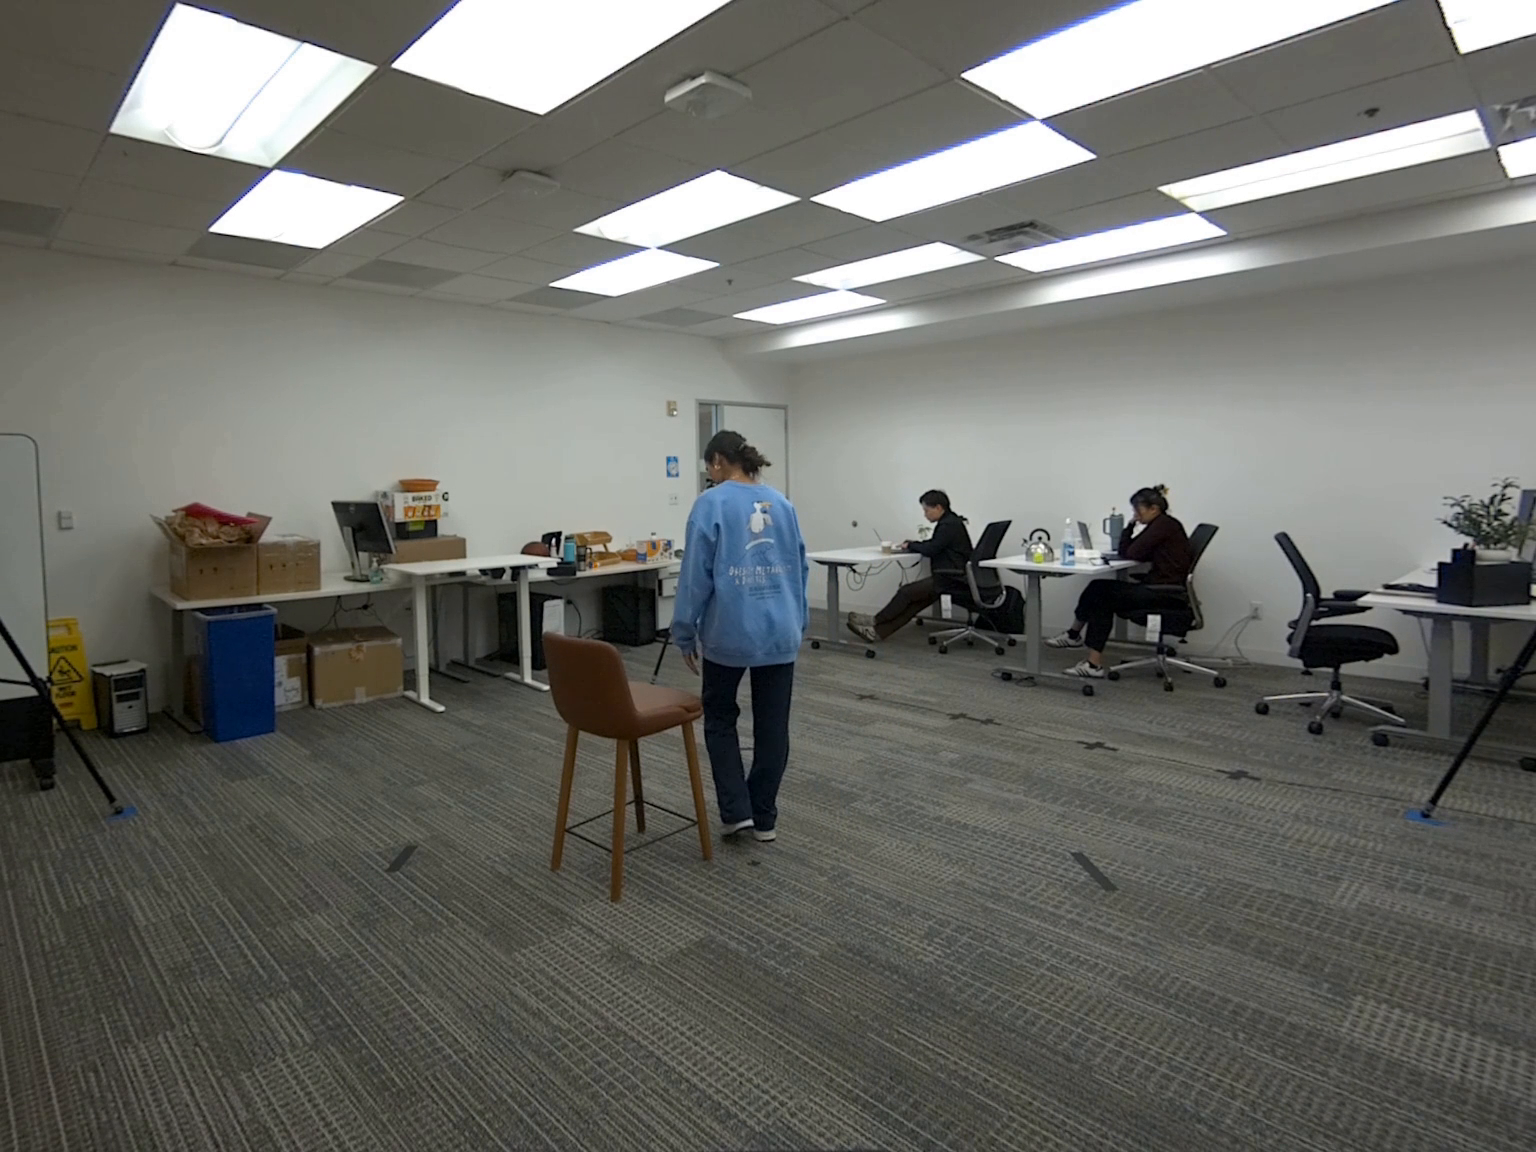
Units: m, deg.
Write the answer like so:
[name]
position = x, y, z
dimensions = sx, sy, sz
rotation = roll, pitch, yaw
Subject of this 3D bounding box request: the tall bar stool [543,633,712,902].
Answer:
[tall bar stool]
position = -0.515, 0.618, 3.089
dimensions = 0.470, 0.885, 0.456
rotation = 3, 8, 43
